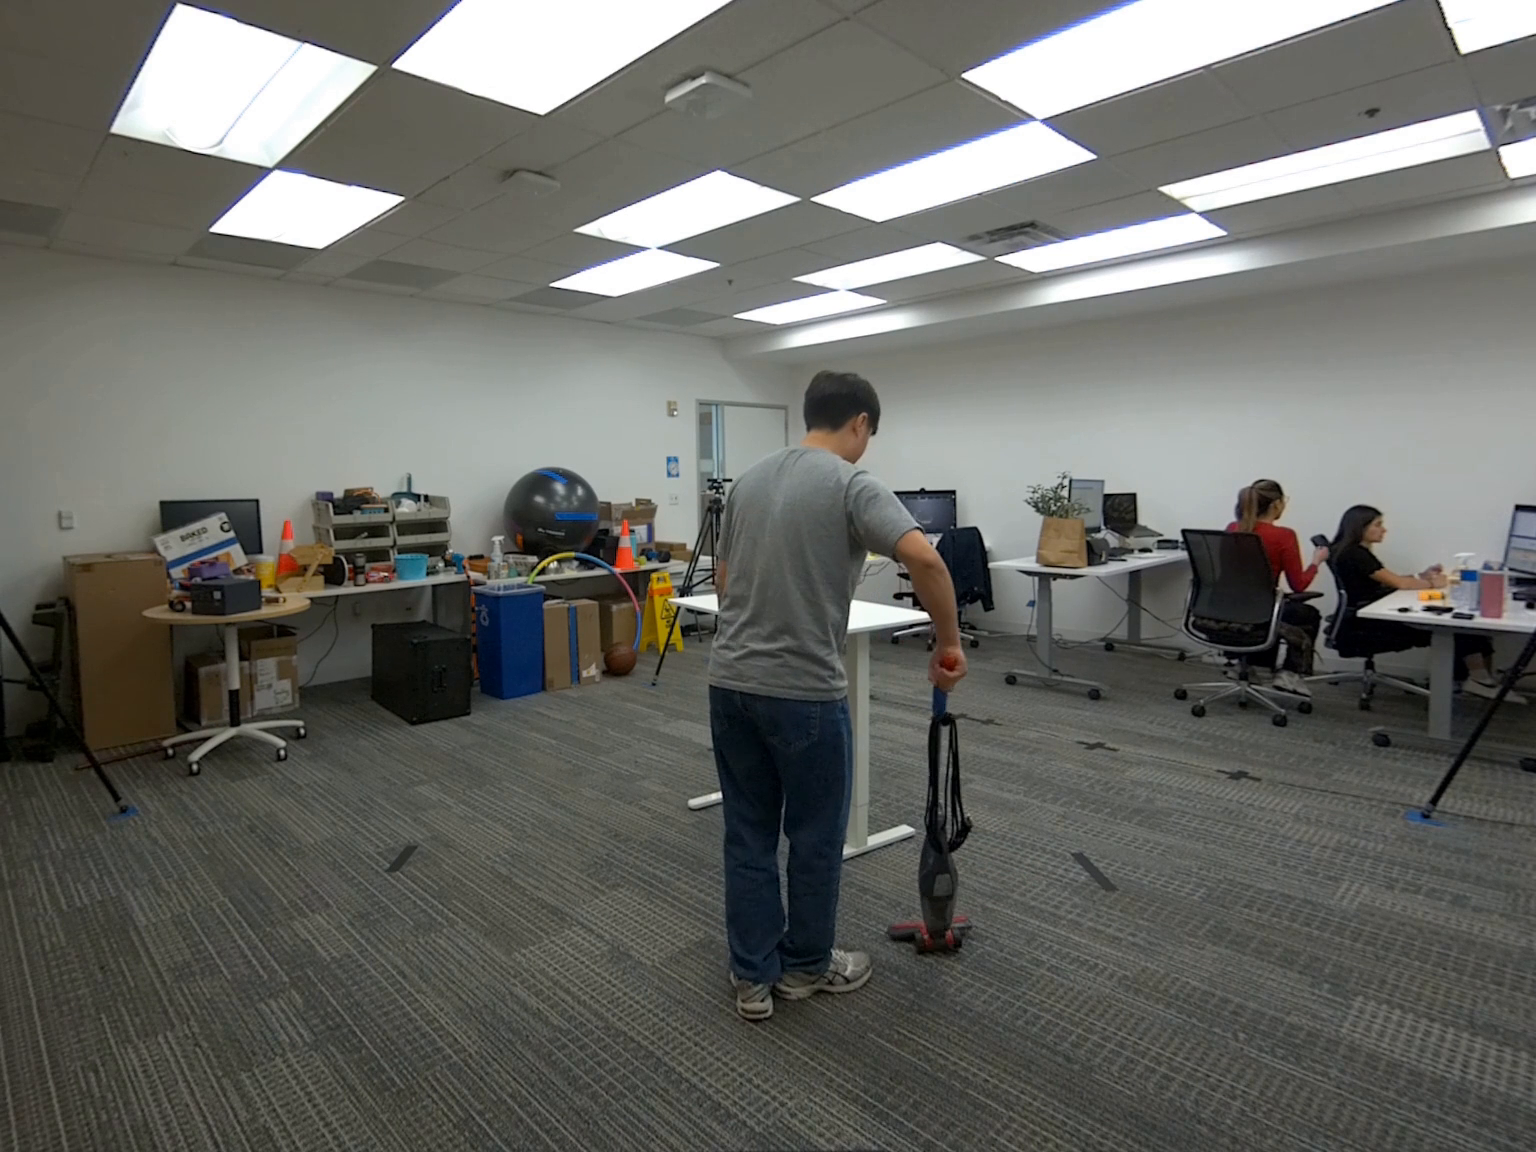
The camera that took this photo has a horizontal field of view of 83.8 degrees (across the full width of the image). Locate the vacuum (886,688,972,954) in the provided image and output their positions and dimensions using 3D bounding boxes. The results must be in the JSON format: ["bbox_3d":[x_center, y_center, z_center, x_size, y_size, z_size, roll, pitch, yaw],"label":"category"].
[{"bbox_3d":[0.475,0.661,2.320,0.252,1.023,0.148,-6,30,-3],"label":"vacuum"}]
